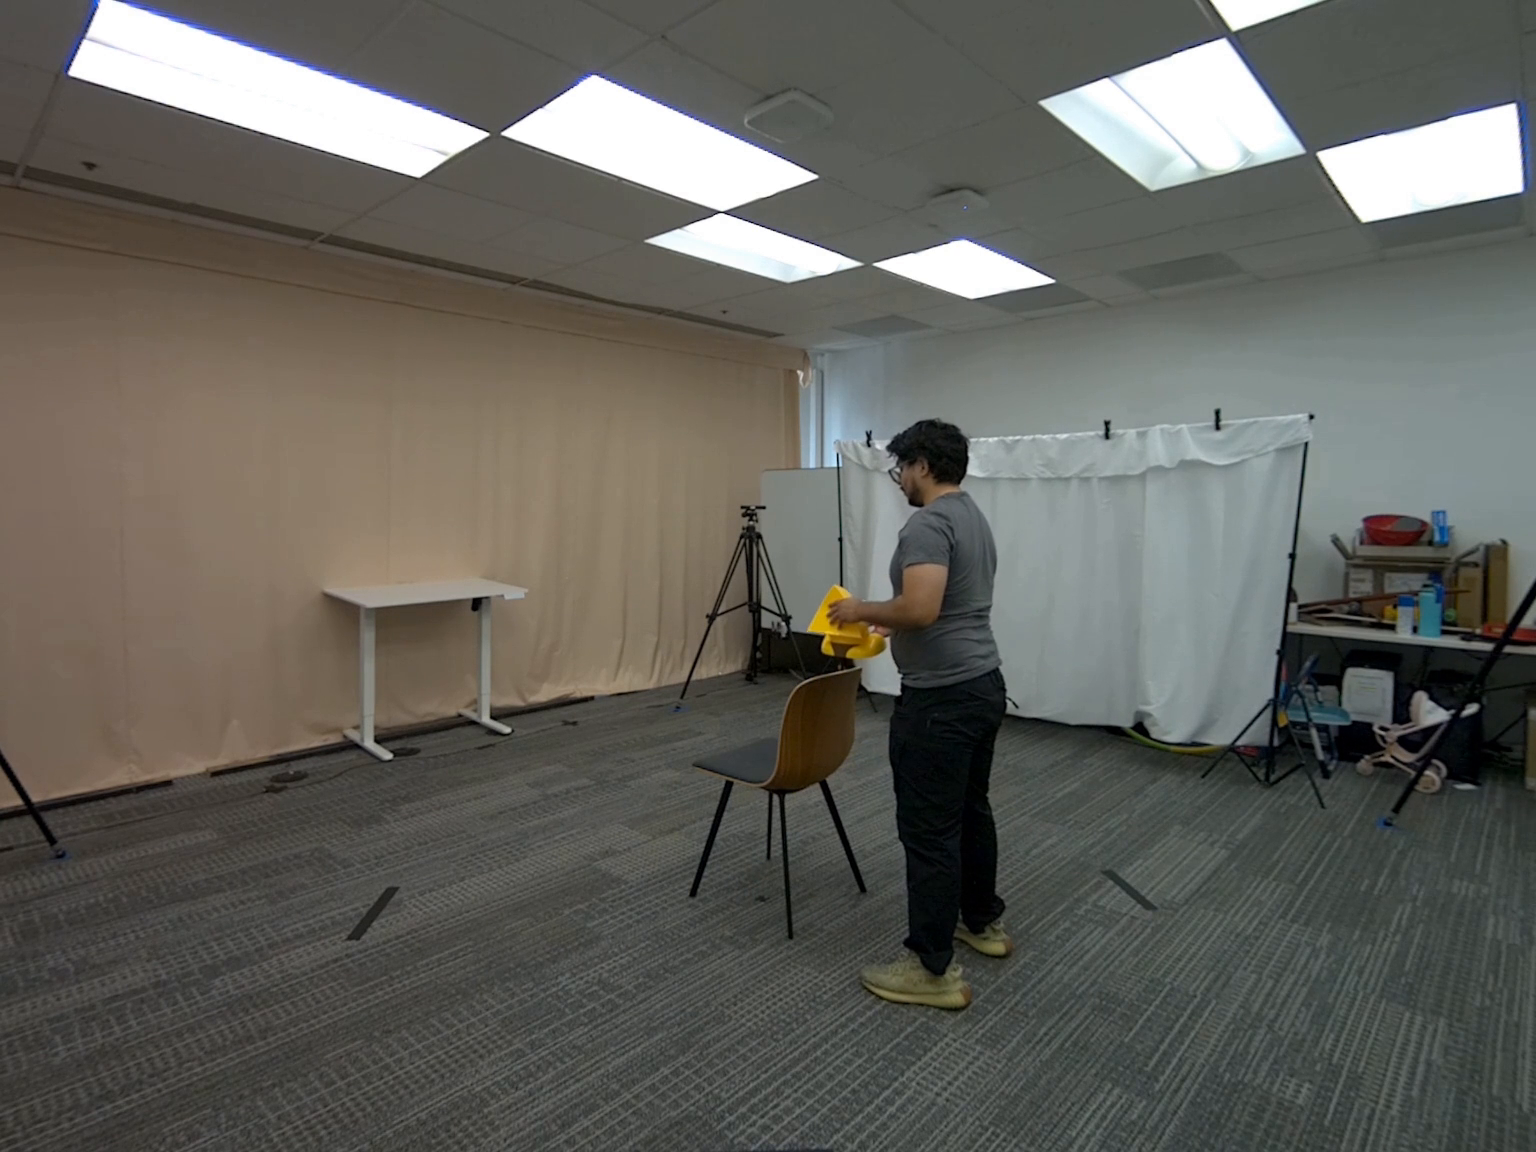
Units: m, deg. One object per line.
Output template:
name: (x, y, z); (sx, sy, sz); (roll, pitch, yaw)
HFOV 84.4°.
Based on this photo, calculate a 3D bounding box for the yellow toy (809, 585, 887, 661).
yellow toy: (0.270, 0.129, 2.665); (0.211, 0.229, 0.188); (3, 14, 42)
